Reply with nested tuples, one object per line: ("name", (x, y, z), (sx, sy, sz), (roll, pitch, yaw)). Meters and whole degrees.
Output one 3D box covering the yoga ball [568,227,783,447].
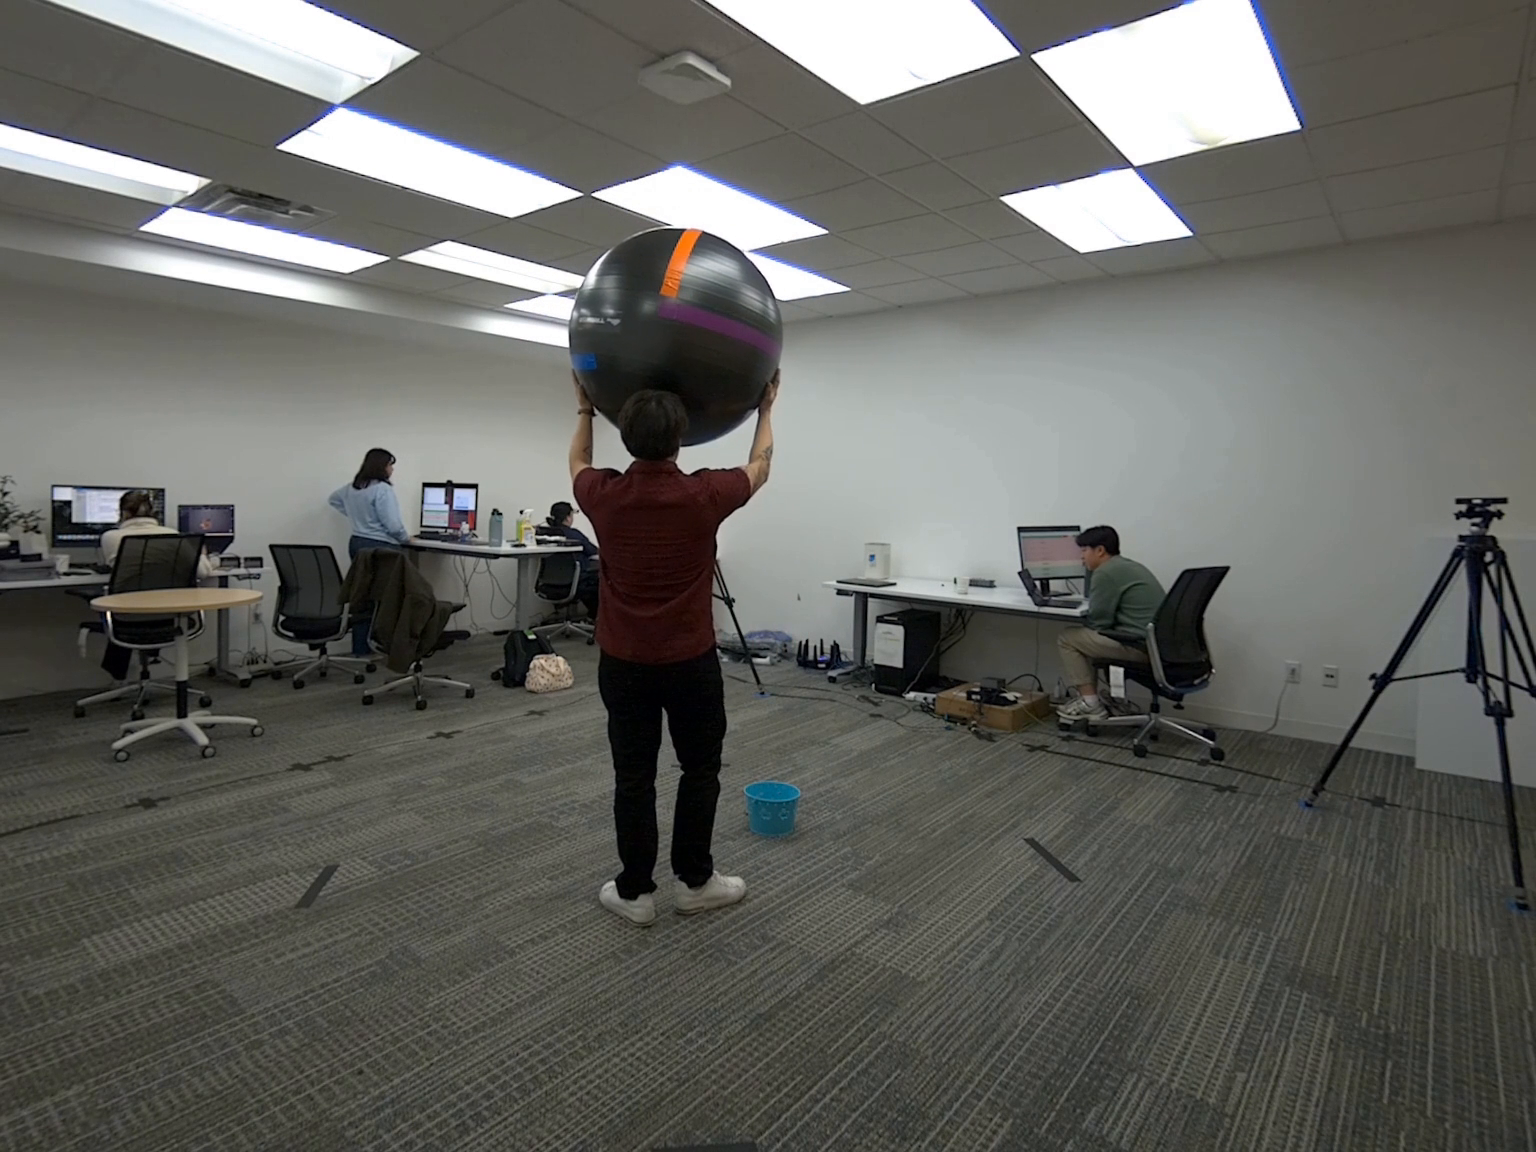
("yoga ball", (-0.332, -0.837, 3.016), (0.757, 0.755, 0.762), (1, 4, -2))
